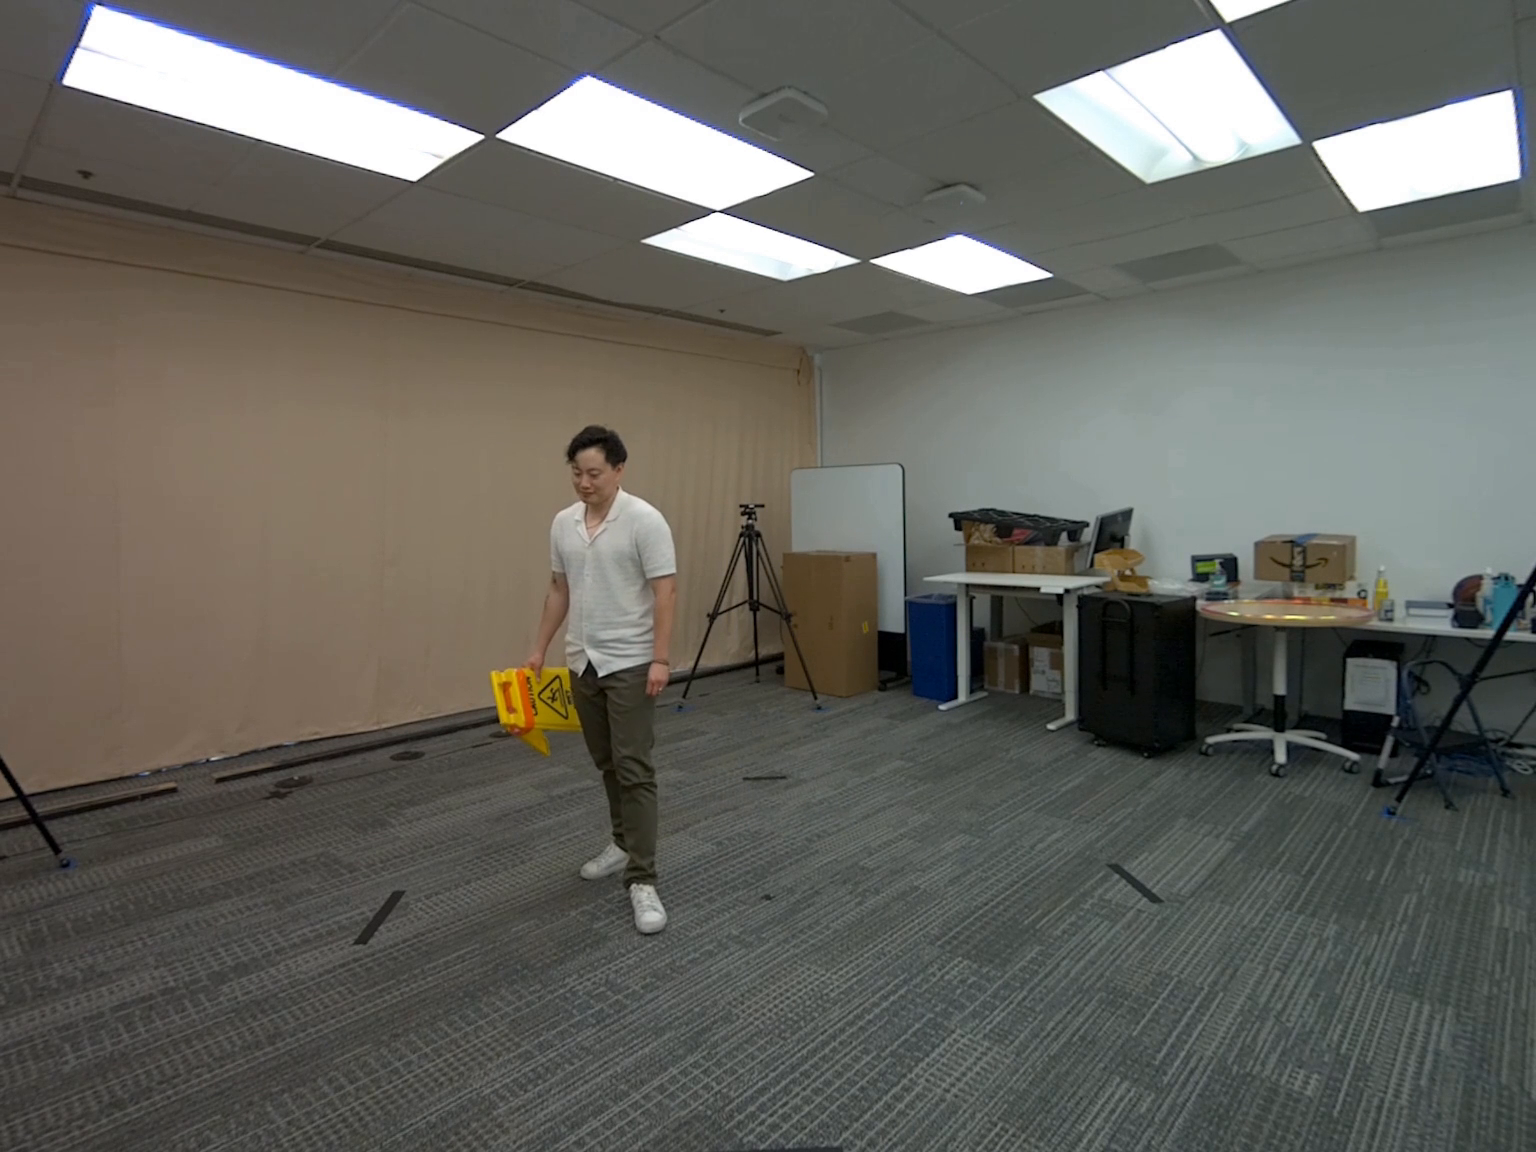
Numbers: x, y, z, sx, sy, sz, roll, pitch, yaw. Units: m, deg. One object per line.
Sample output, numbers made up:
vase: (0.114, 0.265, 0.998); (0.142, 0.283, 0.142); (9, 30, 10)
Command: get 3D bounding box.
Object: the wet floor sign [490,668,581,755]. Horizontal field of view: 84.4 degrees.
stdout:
wet floor sign: (-0.887, 0.497, 3.253); (0.291, 0.287, 0.631); (-20, -18, 7)
